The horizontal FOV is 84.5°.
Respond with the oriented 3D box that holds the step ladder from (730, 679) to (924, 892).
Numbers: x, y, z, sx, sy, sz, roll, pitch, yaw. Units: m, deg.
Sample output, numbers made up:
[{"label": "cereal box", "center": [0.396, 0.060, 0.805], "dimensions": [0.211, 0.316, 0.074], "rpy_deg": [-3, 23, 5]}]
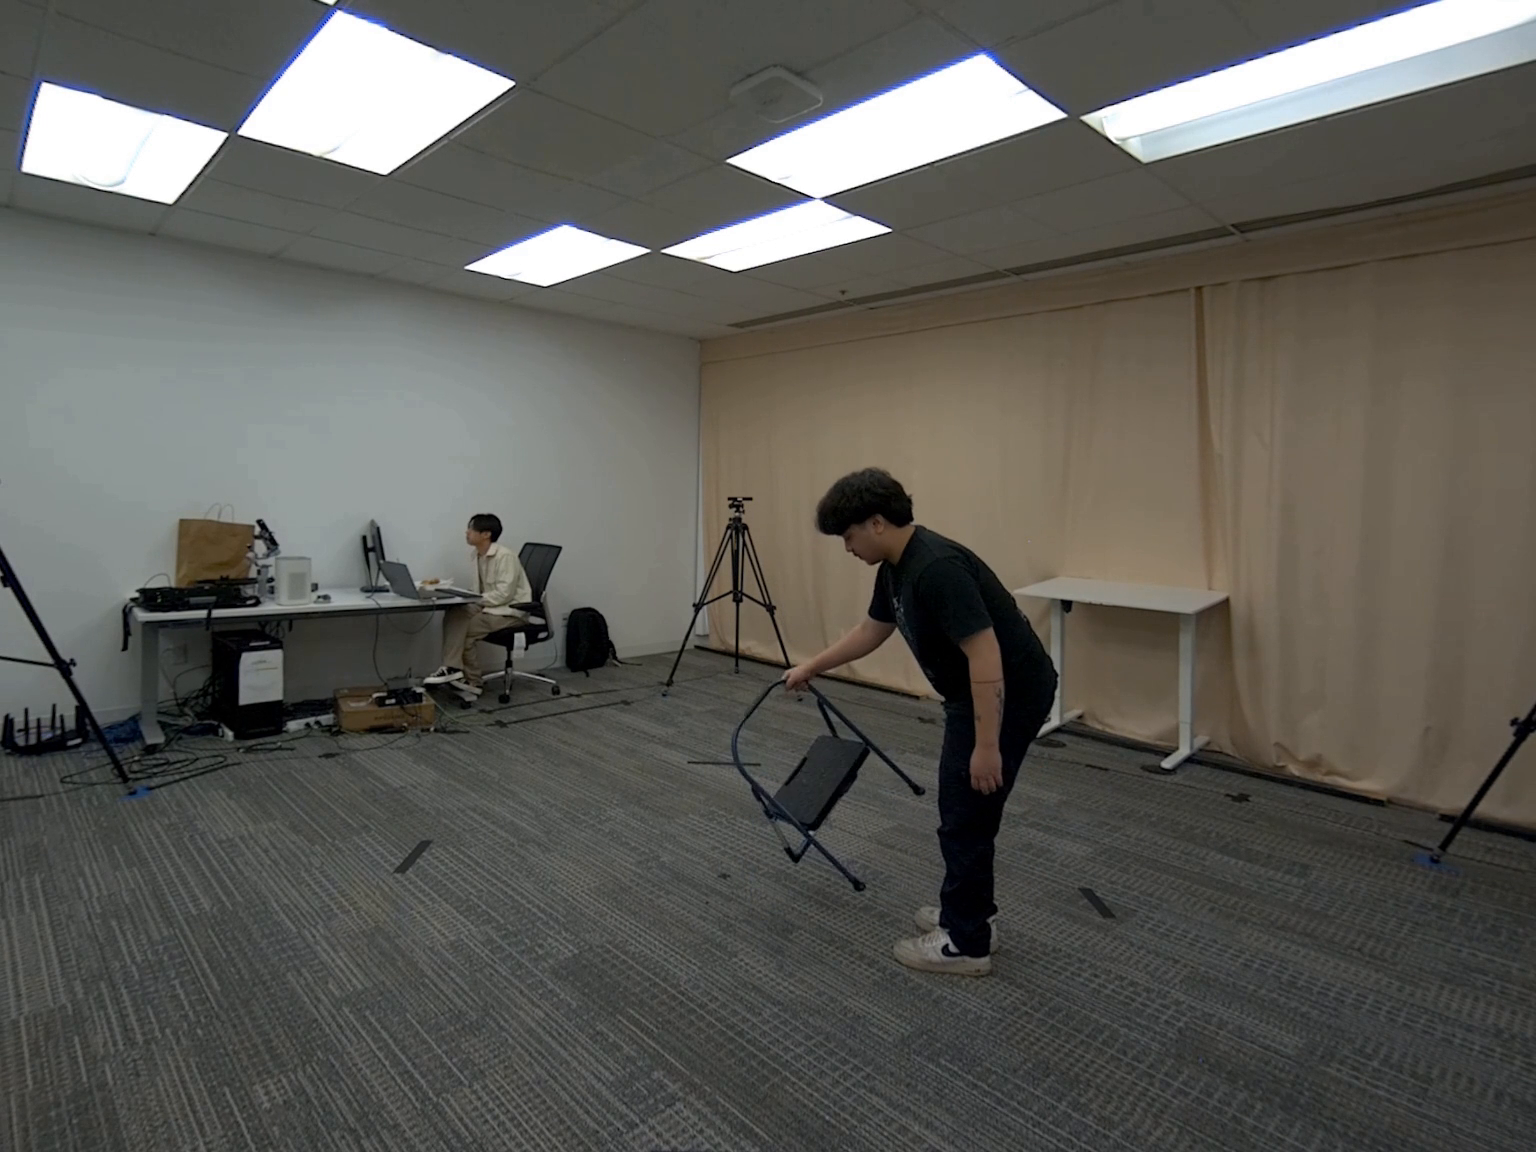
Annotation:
[{"label": "step ladder", "center": [0.155, 0.662, 2.855], "dimensions": [0.356, 0.594, 0.430], "rpy_deg": [-5, 35, 53]}]
